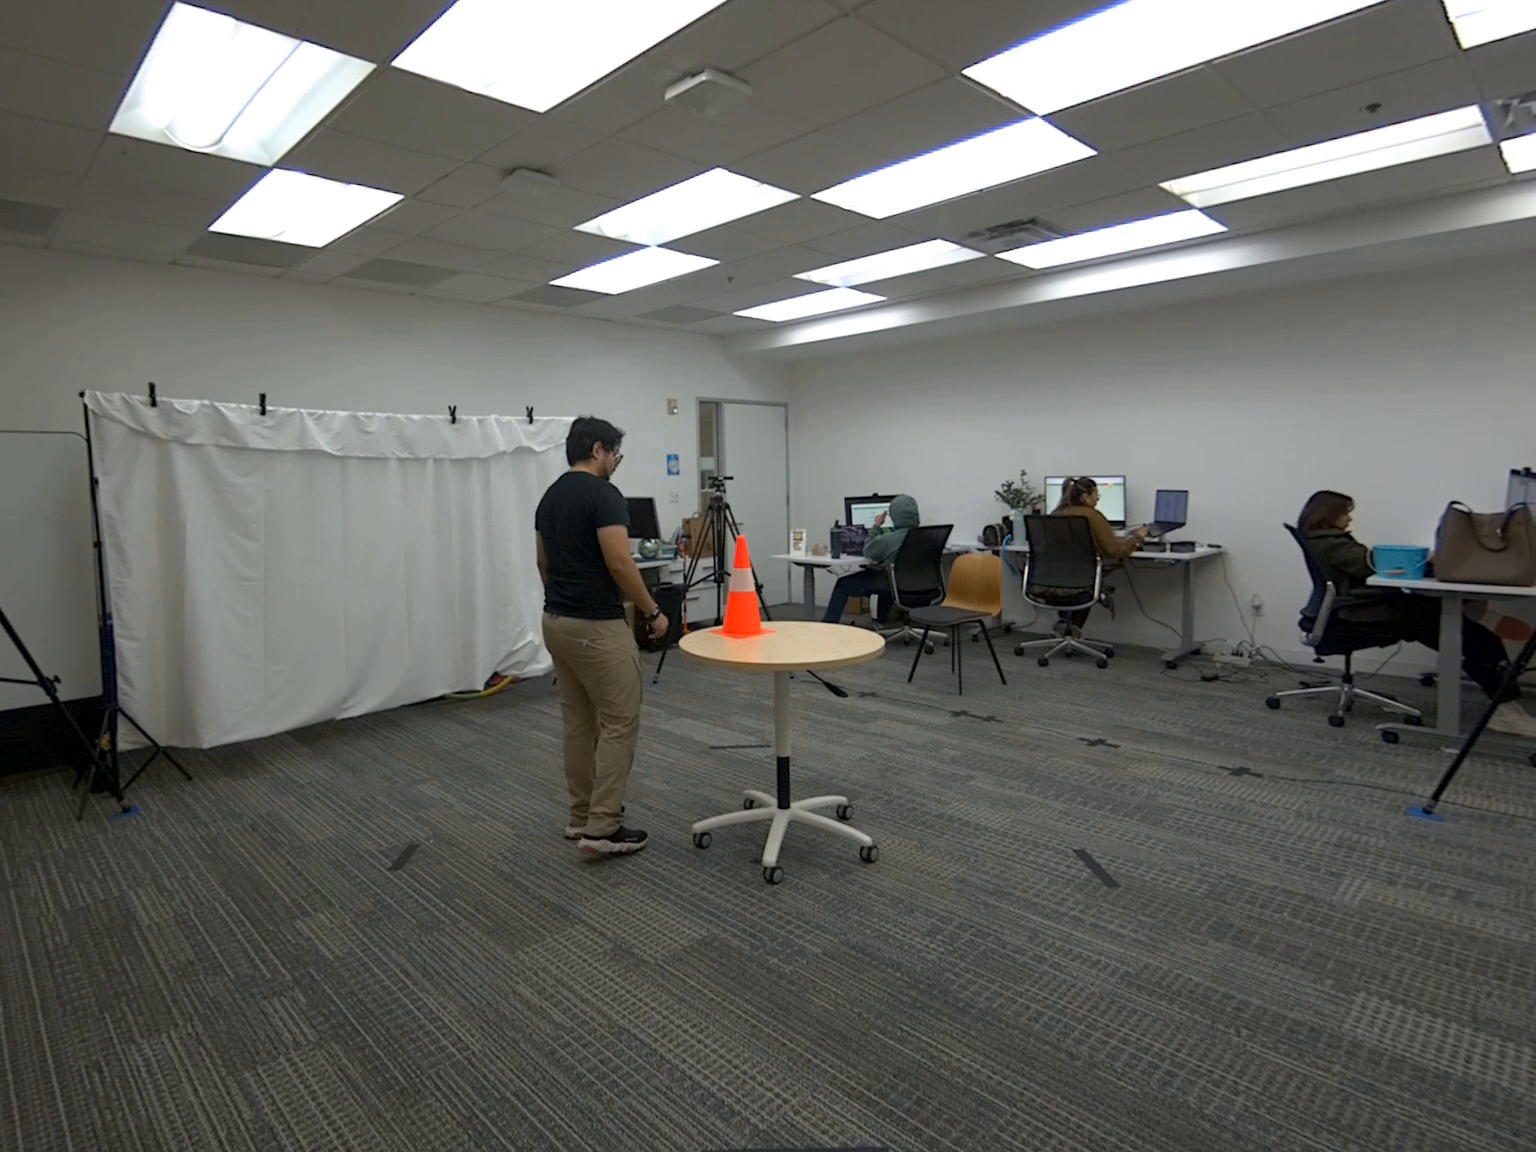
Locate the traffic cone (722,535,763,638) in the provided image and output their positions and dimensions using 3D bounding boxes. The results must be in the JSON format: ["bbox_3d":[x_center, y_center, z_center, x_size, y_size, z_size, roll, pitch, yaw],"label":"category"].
[{"bbox_3d":[-0.112,0.034,3.360,0.209,0.382,0.200,3,6,34],"label":"traffic cone"}]
